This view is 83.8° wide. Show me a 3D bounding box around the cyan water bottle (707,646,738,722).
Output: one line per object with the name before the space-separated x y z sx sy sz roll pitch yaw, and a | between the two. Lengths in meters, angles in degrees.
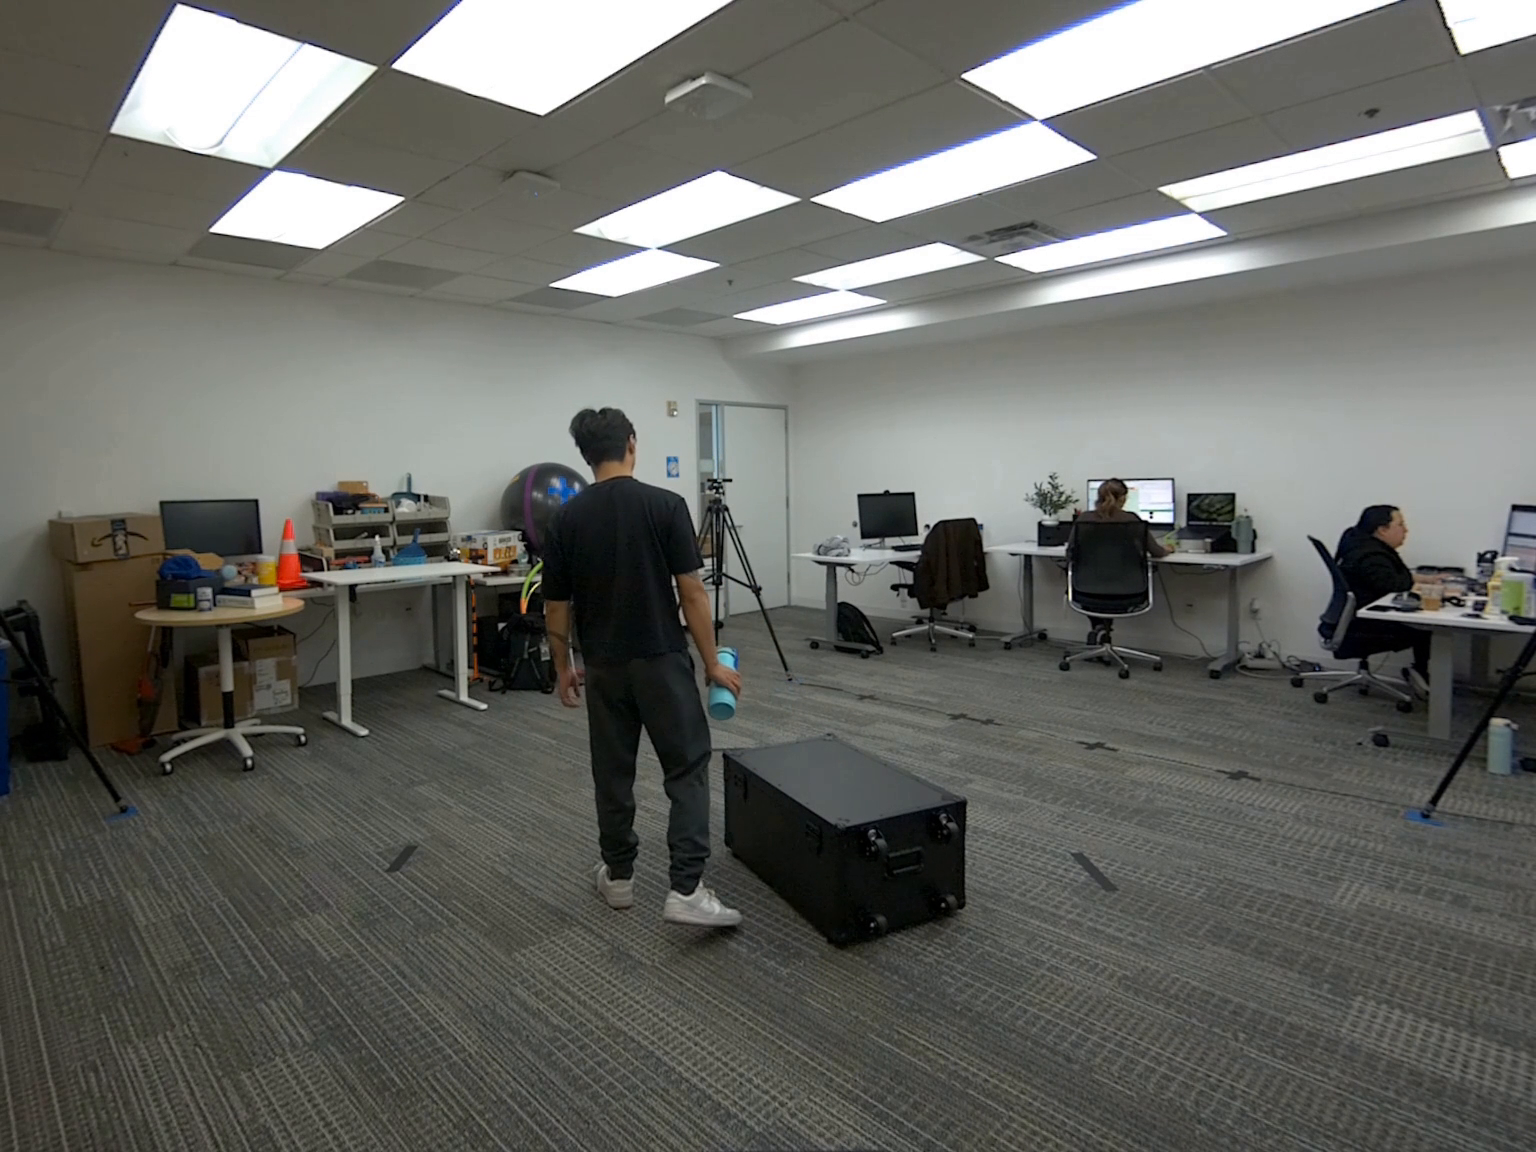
cyan water bottle | -0.147 0.344 2.847 0.093 0.090 0.290 -1 38 4
